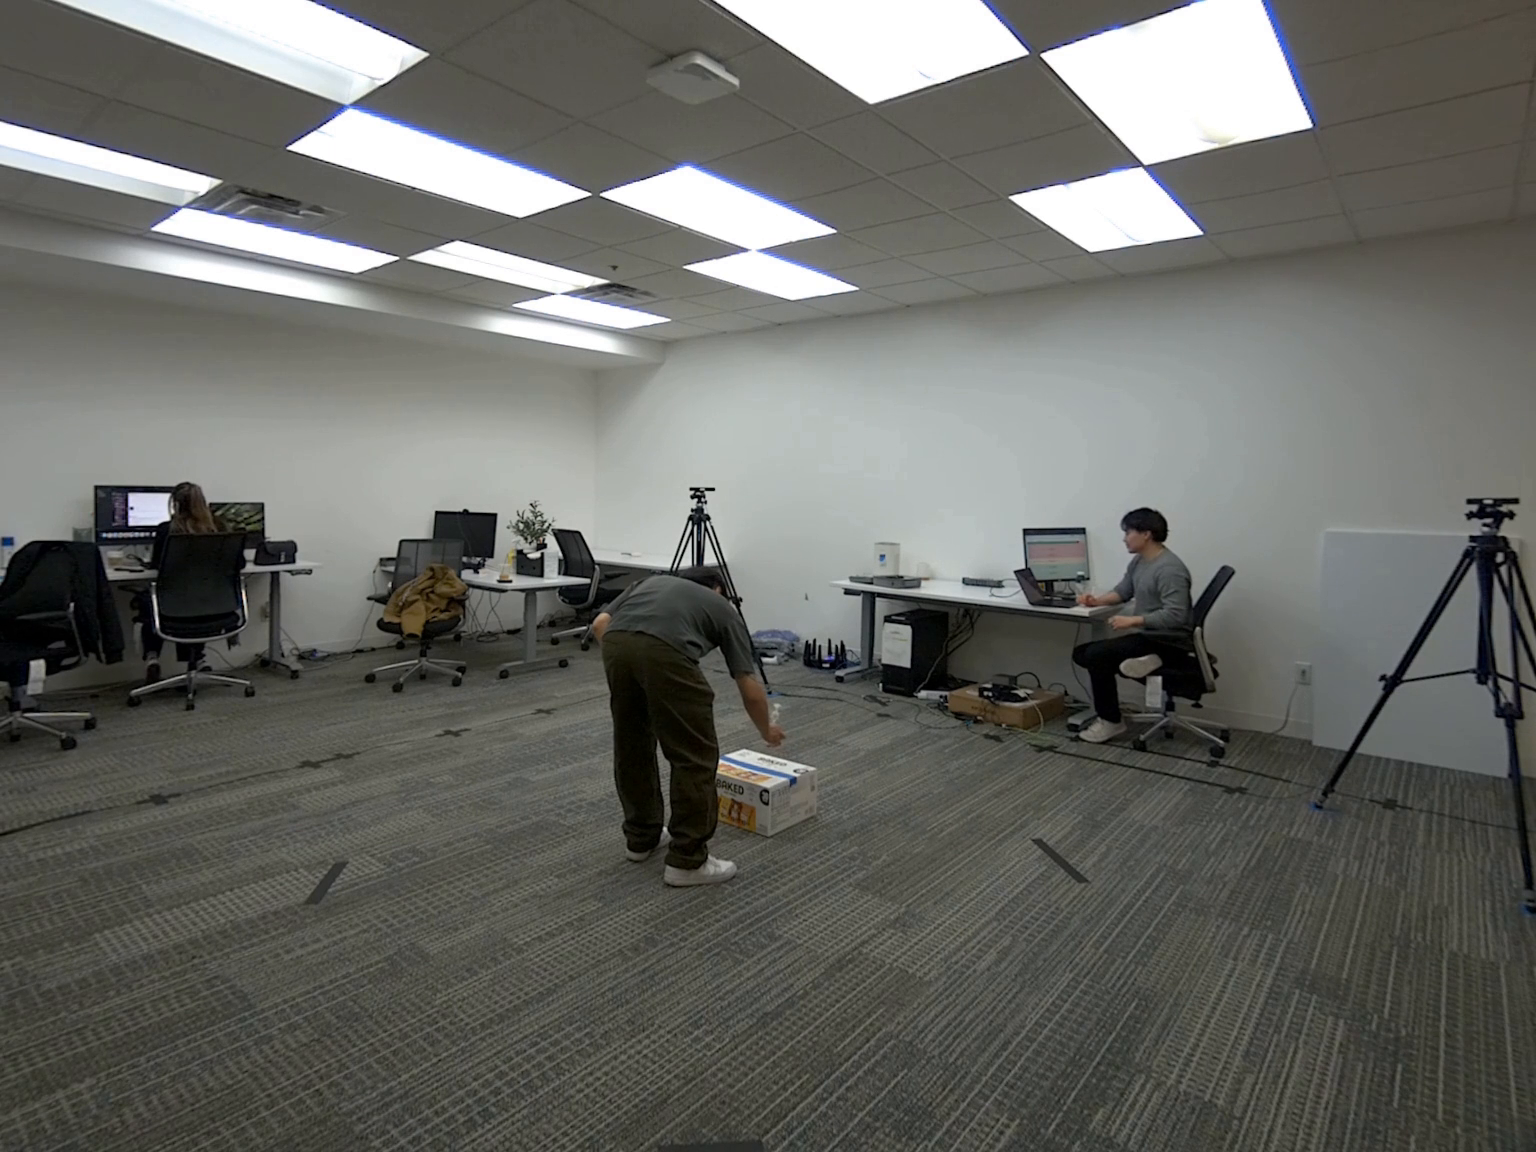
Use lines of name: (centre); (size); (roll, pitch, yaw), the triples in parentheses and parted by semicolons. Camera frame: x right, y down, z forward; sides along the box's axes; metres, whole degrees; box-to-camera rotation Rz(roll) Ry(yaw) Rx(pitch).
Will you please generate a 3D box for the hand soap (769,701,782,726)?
hand soap: (0.011, 0.604, 3.496); (0.043, 0.168, 0.084); (14, 1, 0)
